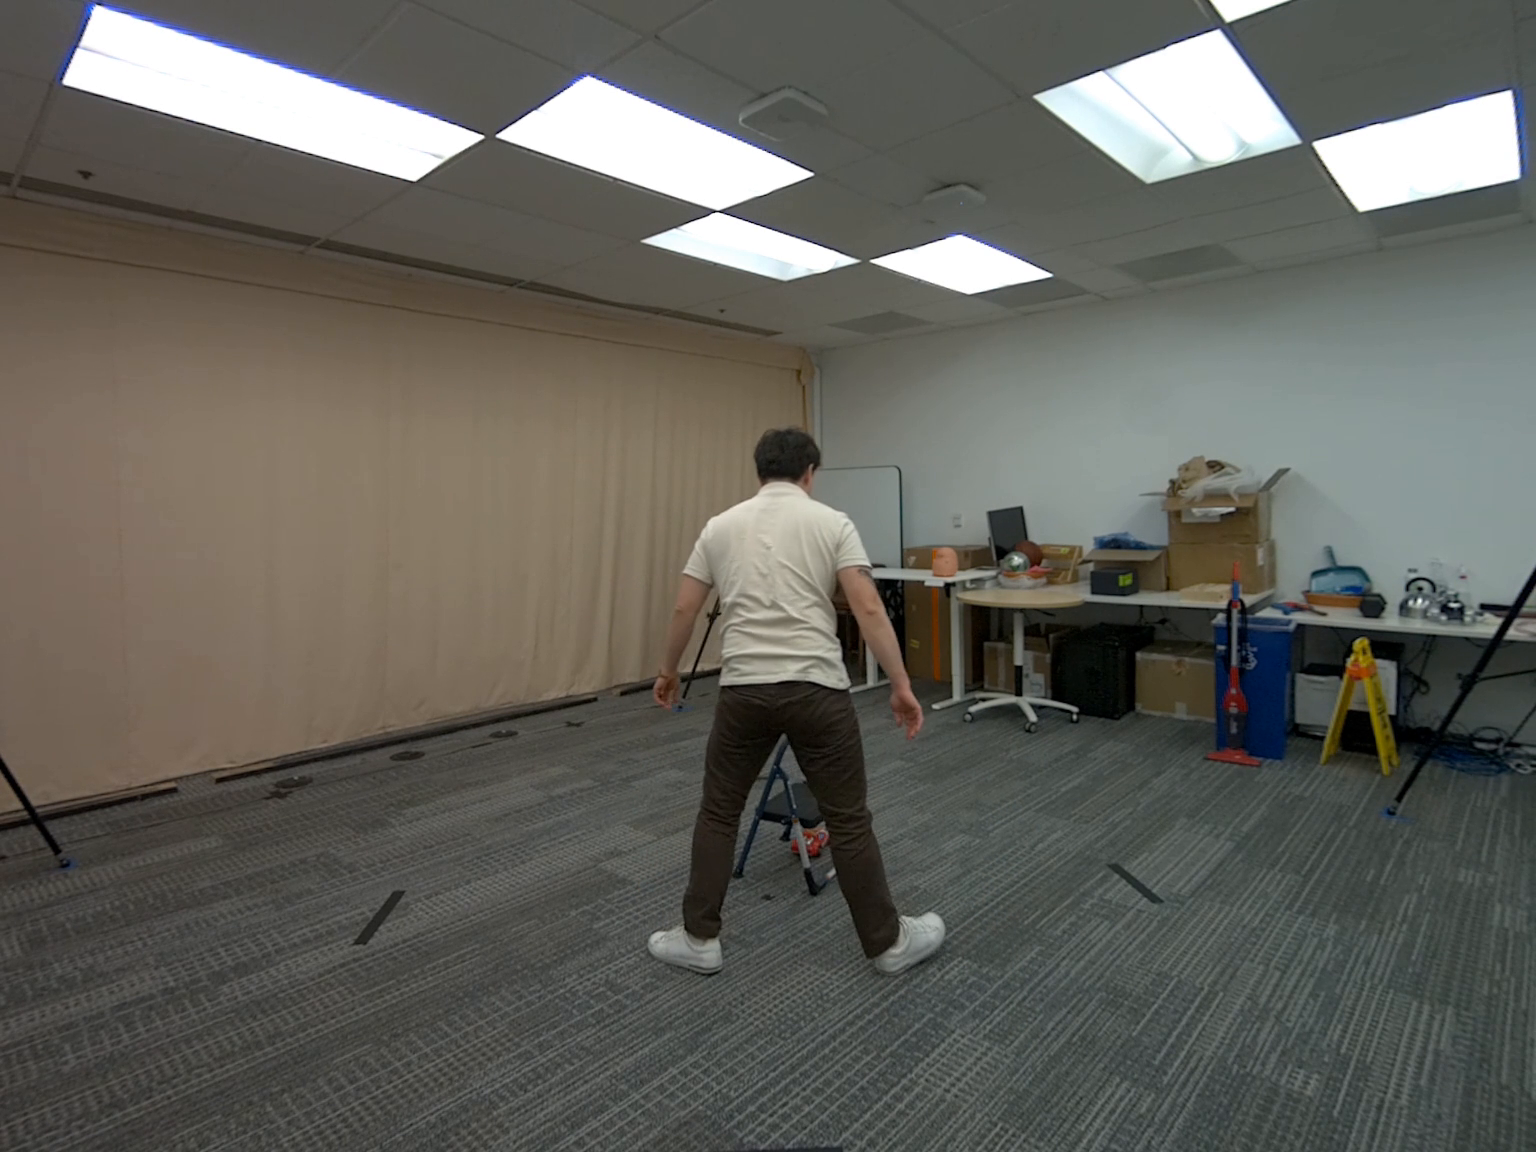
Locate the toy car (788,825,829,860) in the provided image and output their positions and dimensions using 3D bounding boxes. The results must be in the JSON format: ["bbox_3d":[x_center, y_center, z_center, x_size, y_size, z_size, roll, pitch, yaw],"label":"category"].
[{"bbox_3d":[0.181,1.069,3.382,0.134,0.083,0.247,1,-7,26],"label":"toy car"}]
